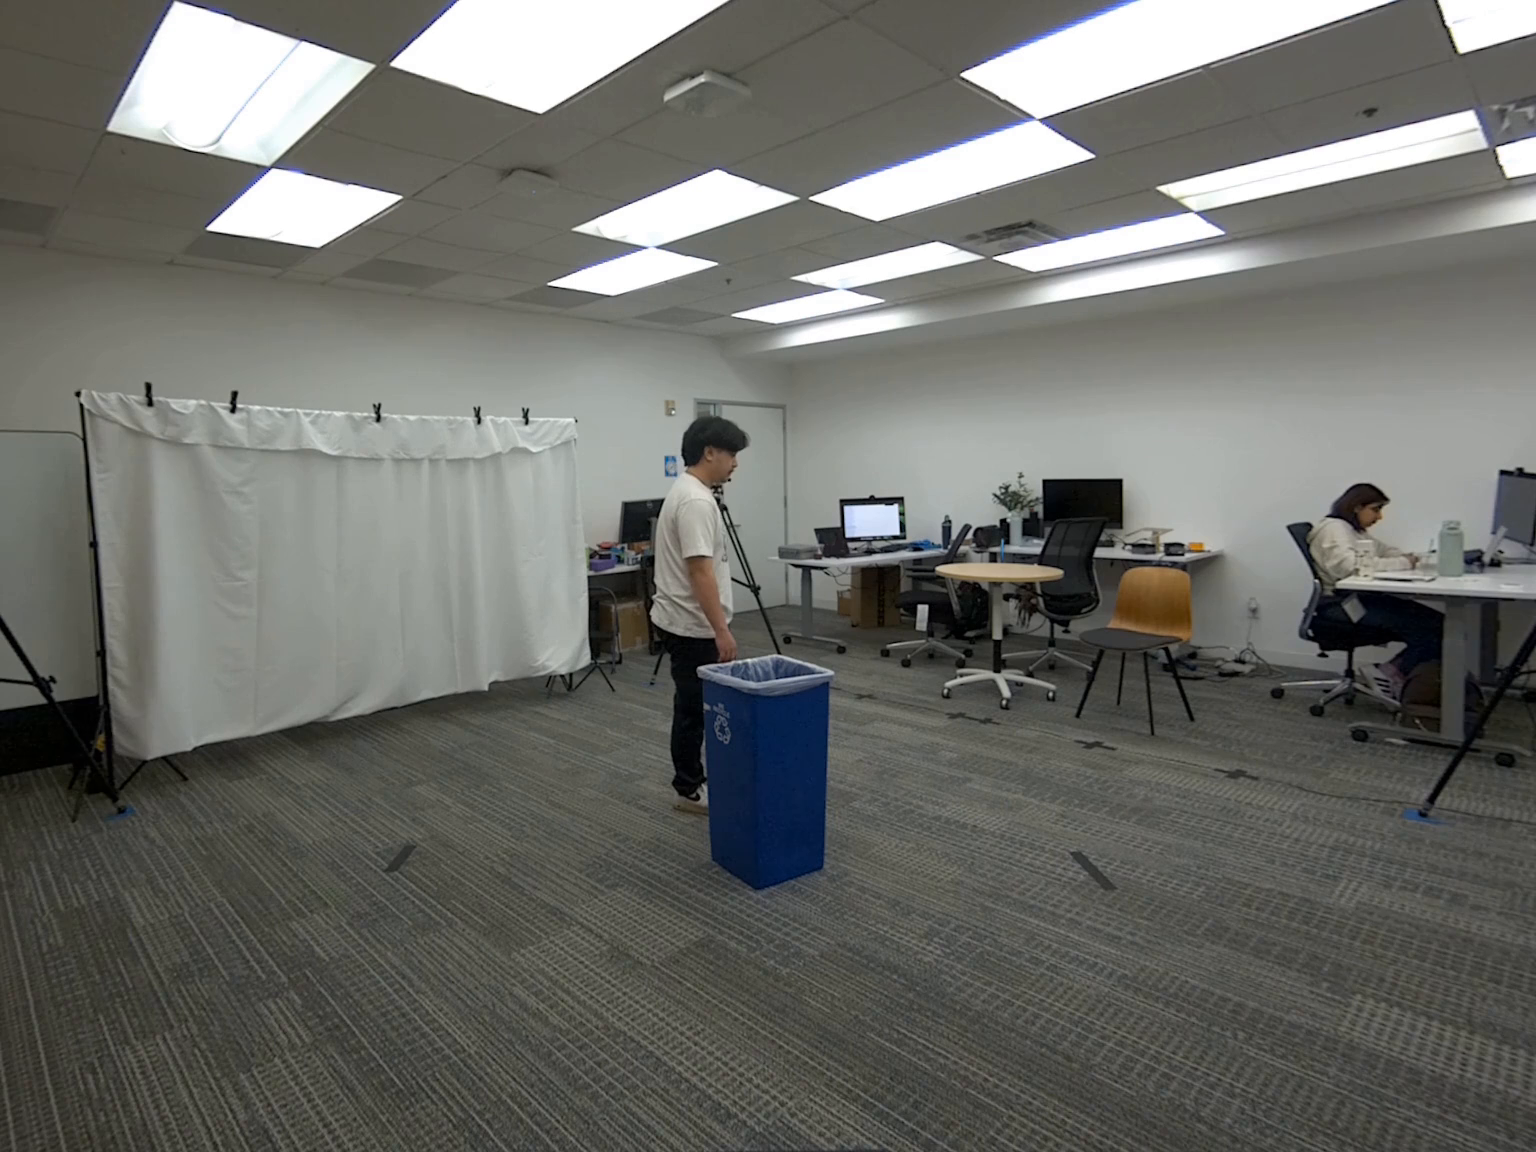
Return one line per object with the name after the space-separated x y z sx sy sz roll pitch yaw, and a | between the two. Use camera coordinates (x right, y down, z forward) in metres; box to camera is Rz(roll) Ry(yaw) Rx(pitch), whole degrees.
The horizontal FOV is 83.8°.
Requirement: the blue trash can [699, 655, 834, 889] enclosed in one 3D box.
0.000 0.686 3.070 0.368 0.711 0.385 -4 5 -35 | blue trash can
